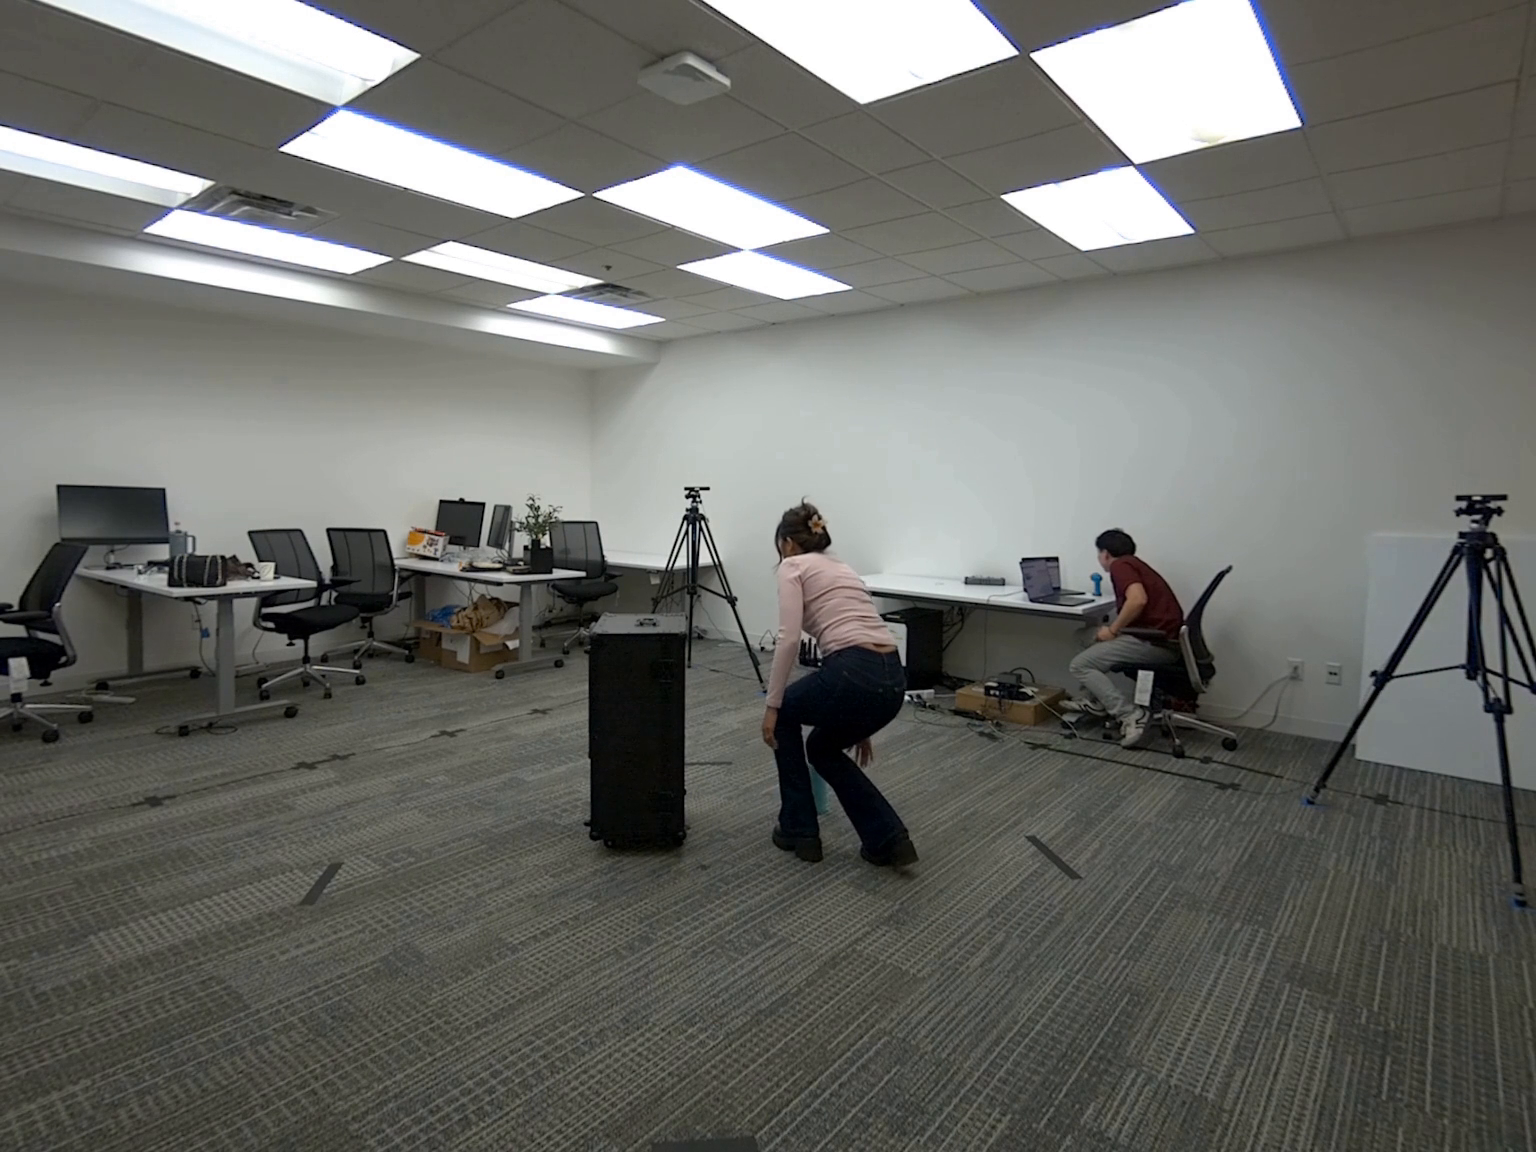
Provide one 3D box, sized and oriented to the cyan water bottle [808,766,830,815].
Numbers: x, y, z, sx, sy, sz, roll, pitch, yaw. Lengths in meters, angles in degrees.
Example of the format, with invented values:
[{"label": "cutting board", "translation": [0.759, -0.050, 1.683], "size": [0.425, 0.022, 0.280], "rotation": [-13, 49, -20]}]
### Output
[{"label": "cyan water bottle", "translation": [0.206, 0.872, 3.673], "size": [0.092, 0.282, 0.093], "rotation": [1, 4, -2]}]
